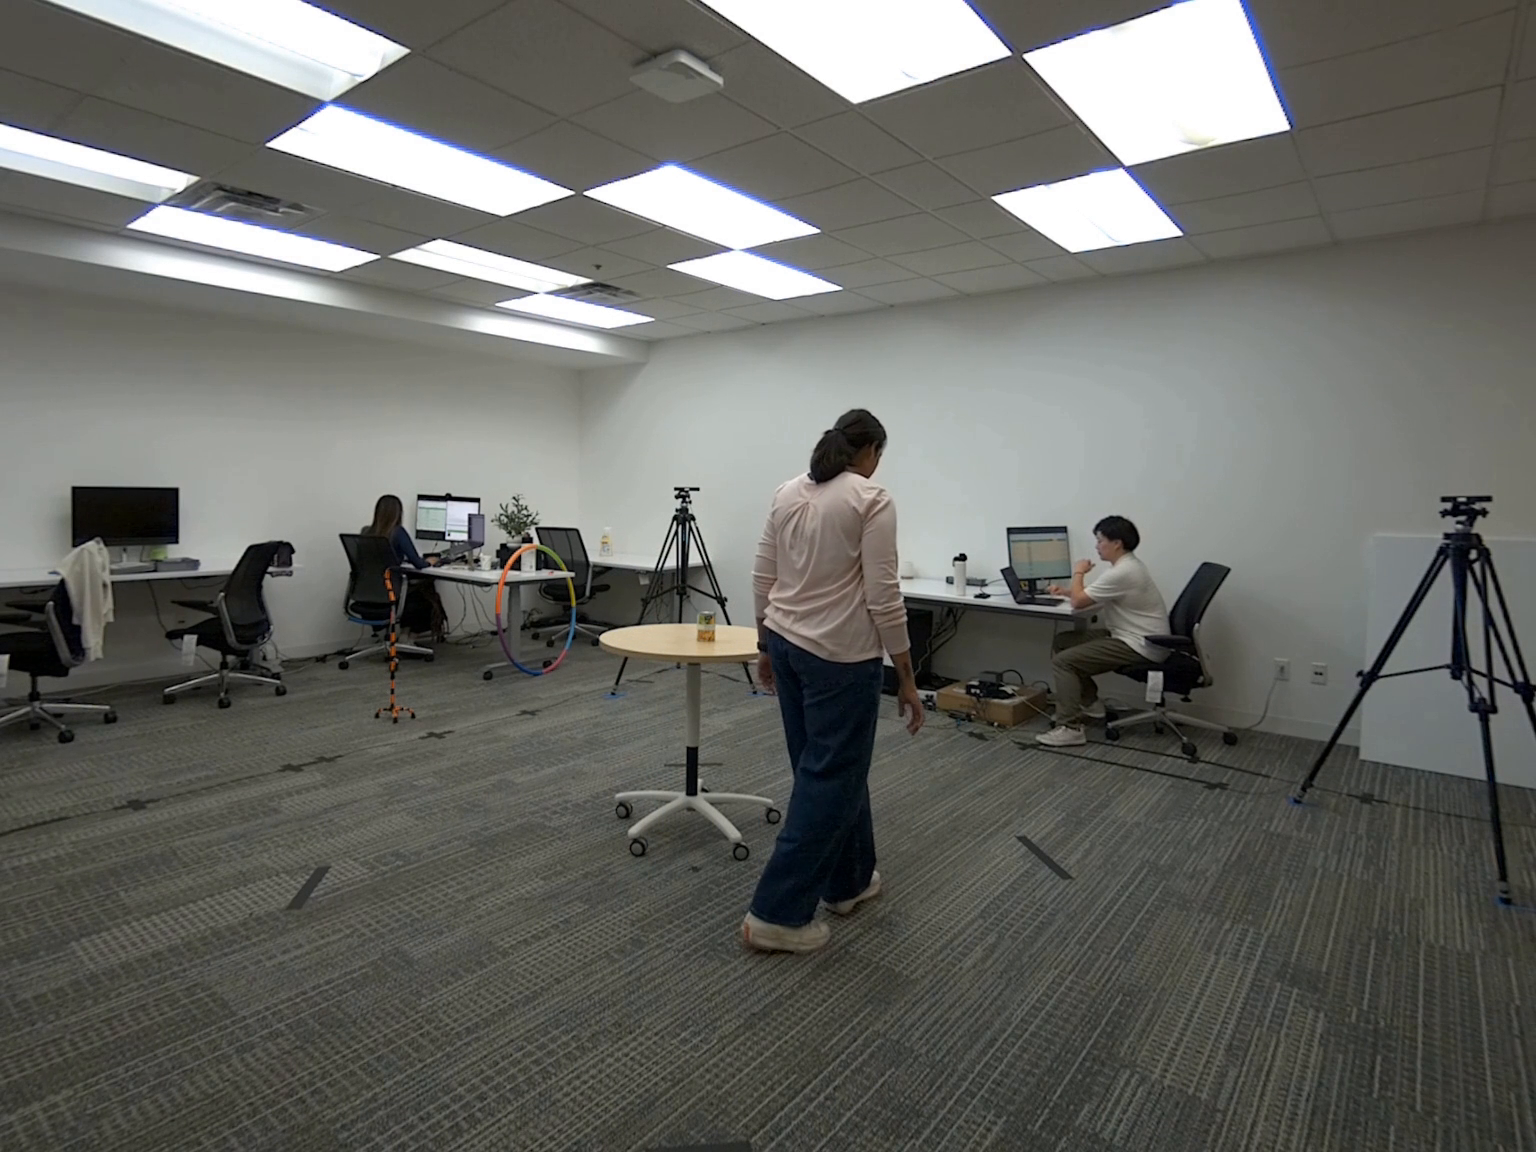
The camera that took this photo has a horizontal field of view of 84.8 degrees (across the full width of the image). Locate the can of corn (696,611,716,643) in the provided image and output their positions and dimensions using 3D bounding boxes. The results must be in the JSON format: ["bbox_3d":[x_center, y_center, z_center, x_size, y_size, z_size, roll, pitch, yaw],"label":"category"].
[{"bbox_3d":[-0.257,0.199,3.397,0.074,0.111,0.074,2,1,-2],"label":"can of corn"}]
